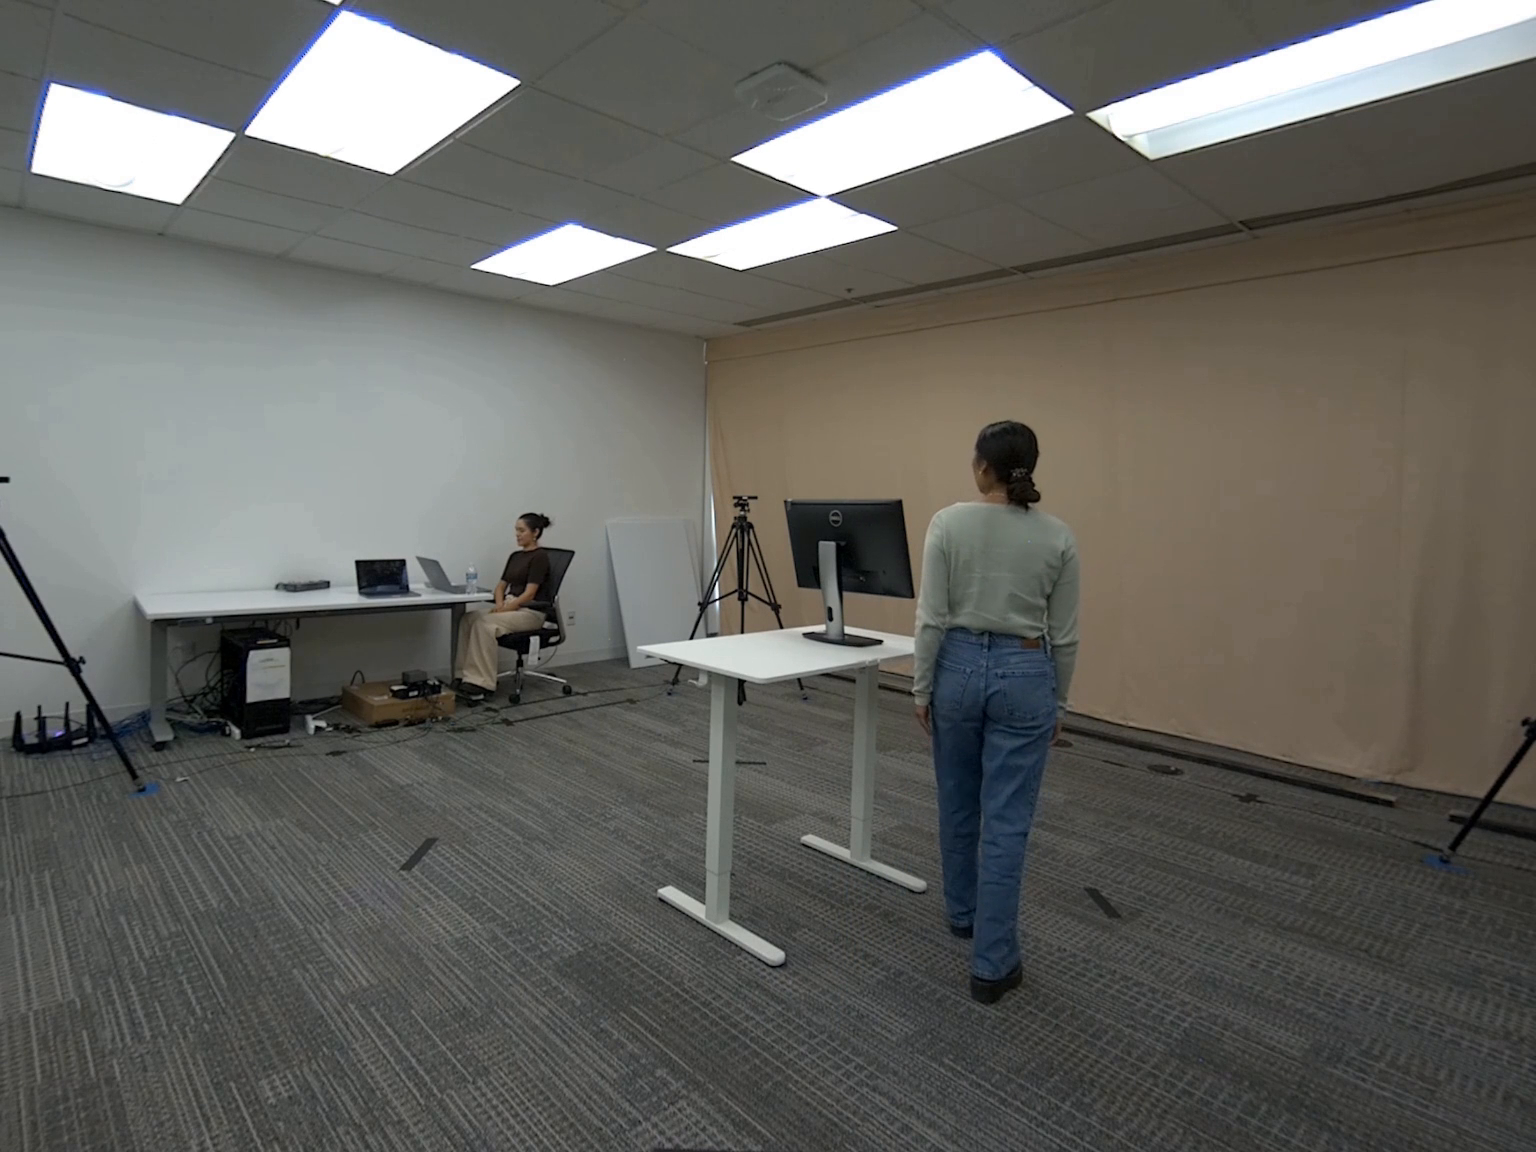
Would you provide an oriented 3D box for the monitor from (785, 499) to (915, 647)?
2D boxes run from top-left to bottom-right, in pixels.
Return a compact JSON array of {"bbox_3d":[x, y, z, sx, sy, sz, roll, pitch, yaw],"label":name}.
[{"bbox_3d":[0.258,-0.015,3.044,0.553,0.521,0.183,4,6,44],"label":"monitor"}]
